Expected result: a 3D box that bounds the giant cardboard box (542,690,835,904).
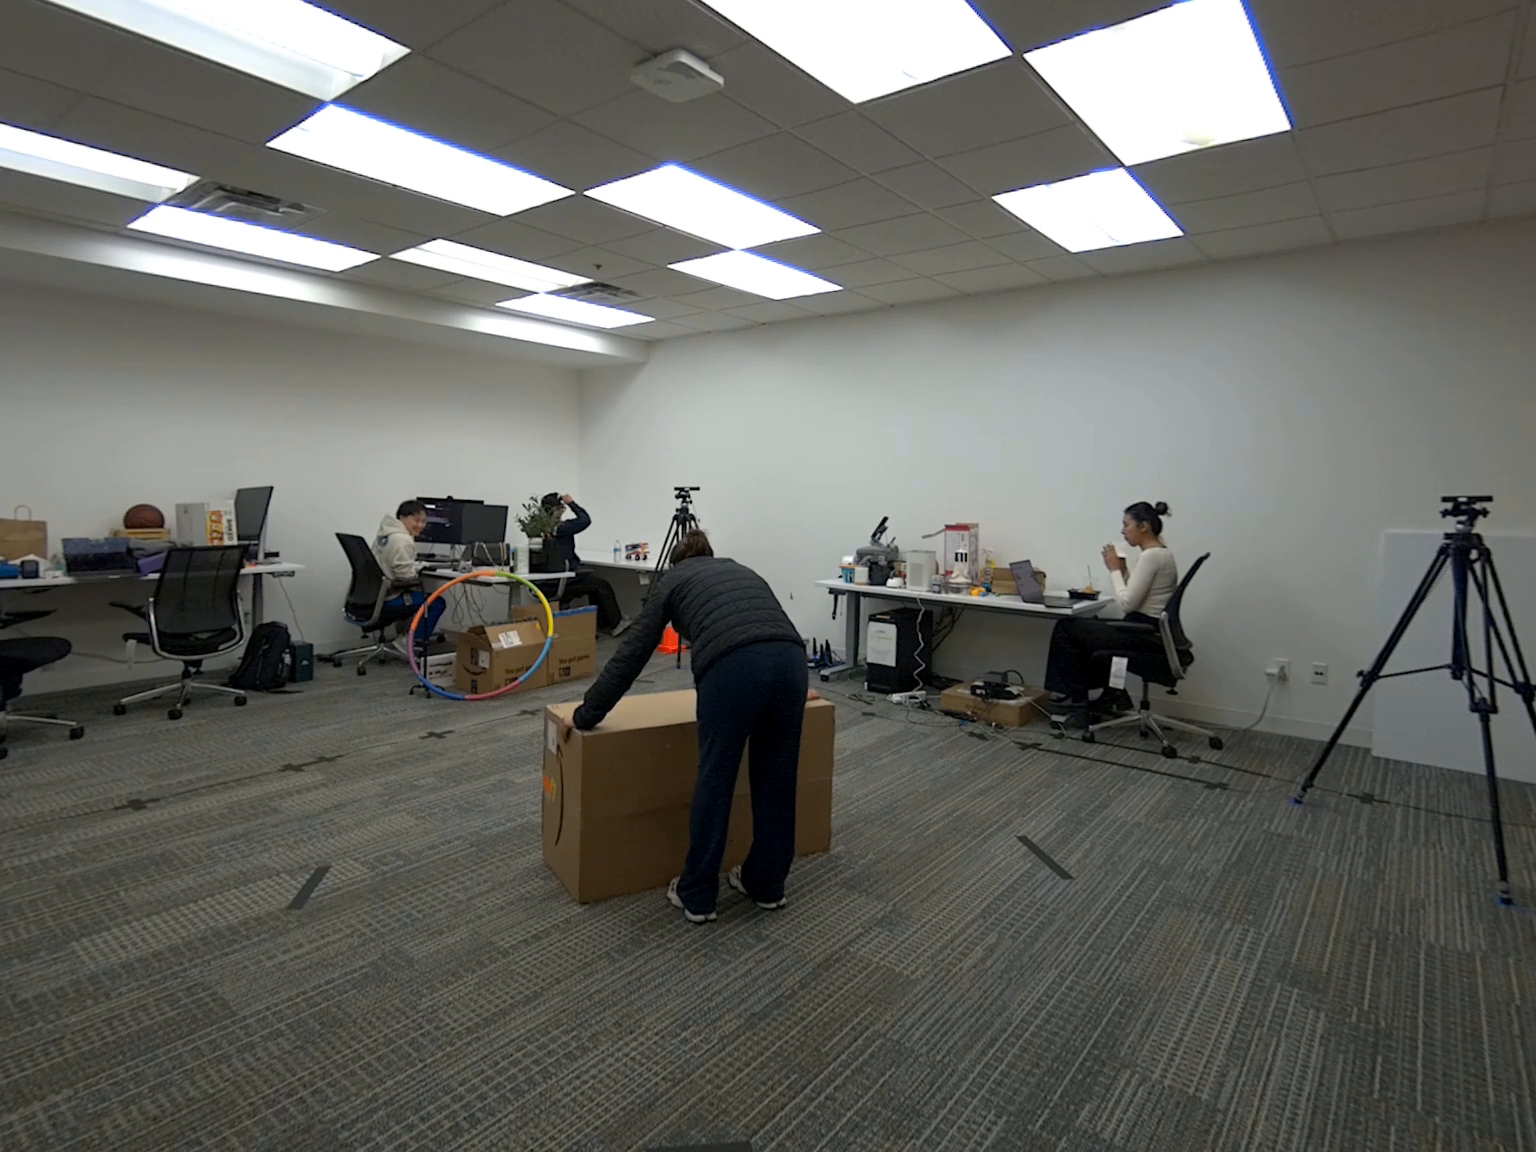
[{"bbox_3d":[-0.286,0.767,3.240,1.001,0.581,0.460,-1,6,-28],"label":"giant cardboard box"}]
